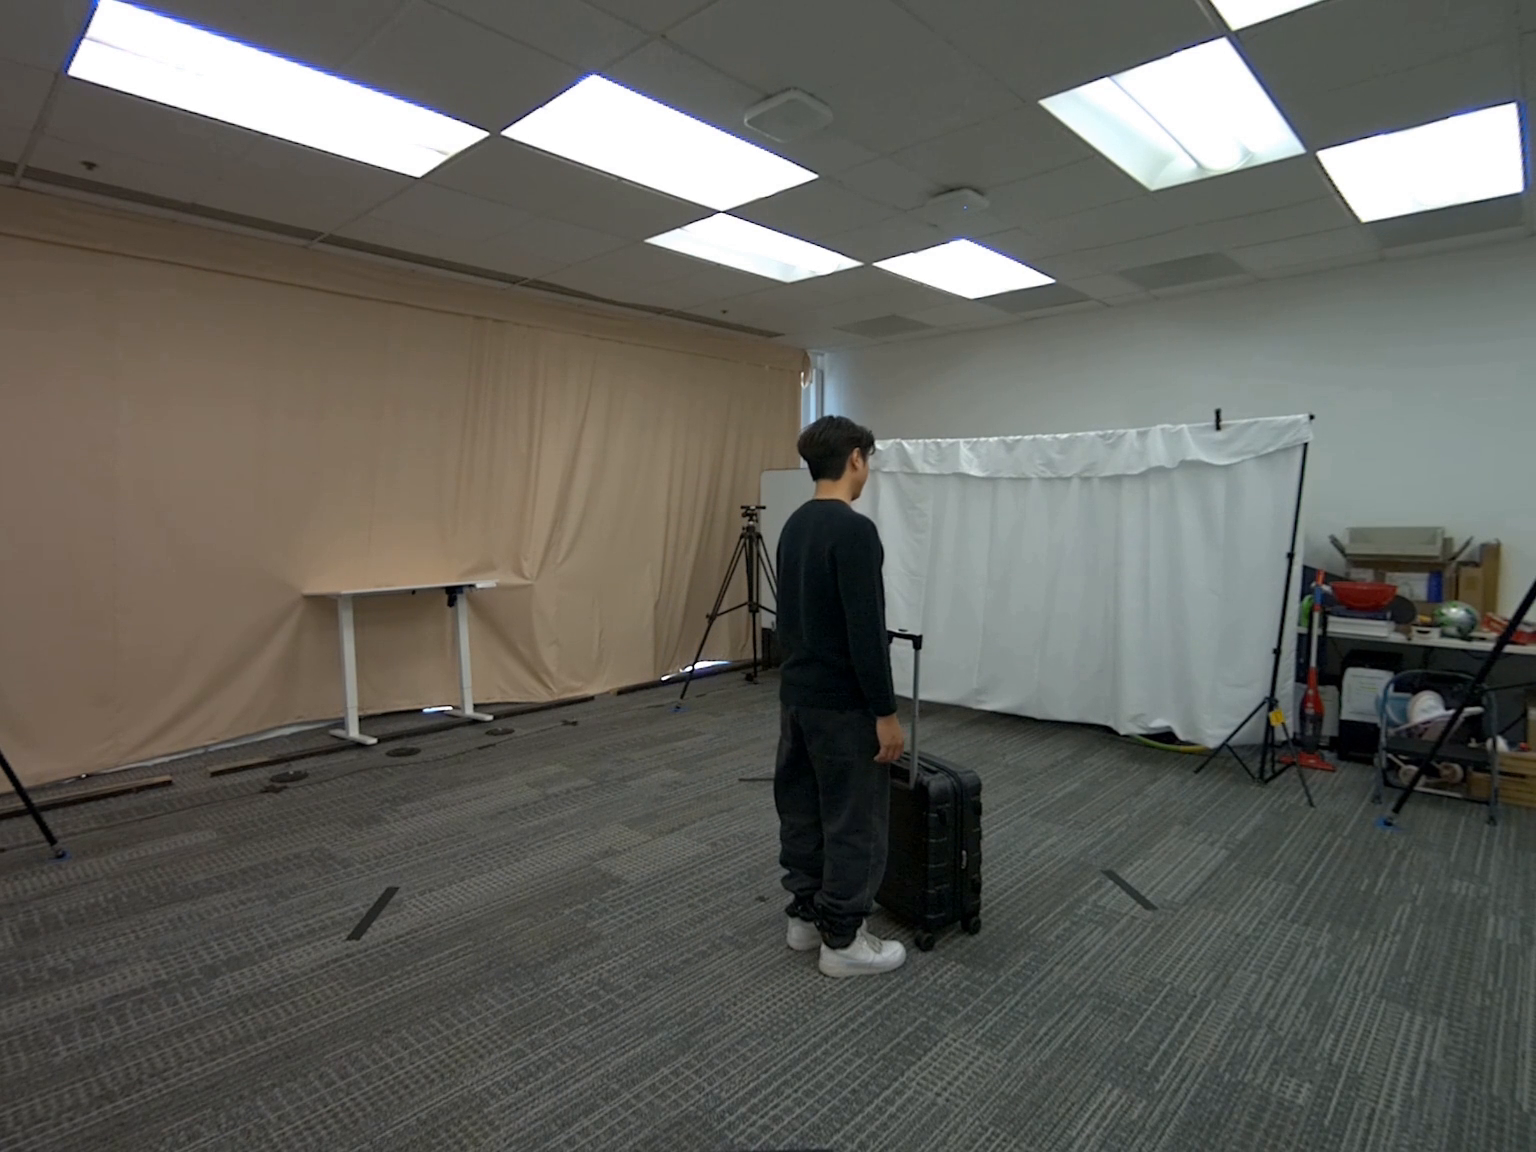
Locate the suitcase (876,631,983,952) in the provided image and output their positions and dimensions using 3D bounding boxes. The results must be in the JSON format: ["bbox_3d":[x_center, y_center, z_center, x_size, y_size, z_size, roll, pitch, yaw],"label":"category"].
[{"bbox_3d":[0.532,0.682,2.818,0.250,0.978,0.395,2,2,-31],"label":"suitcase"}]
